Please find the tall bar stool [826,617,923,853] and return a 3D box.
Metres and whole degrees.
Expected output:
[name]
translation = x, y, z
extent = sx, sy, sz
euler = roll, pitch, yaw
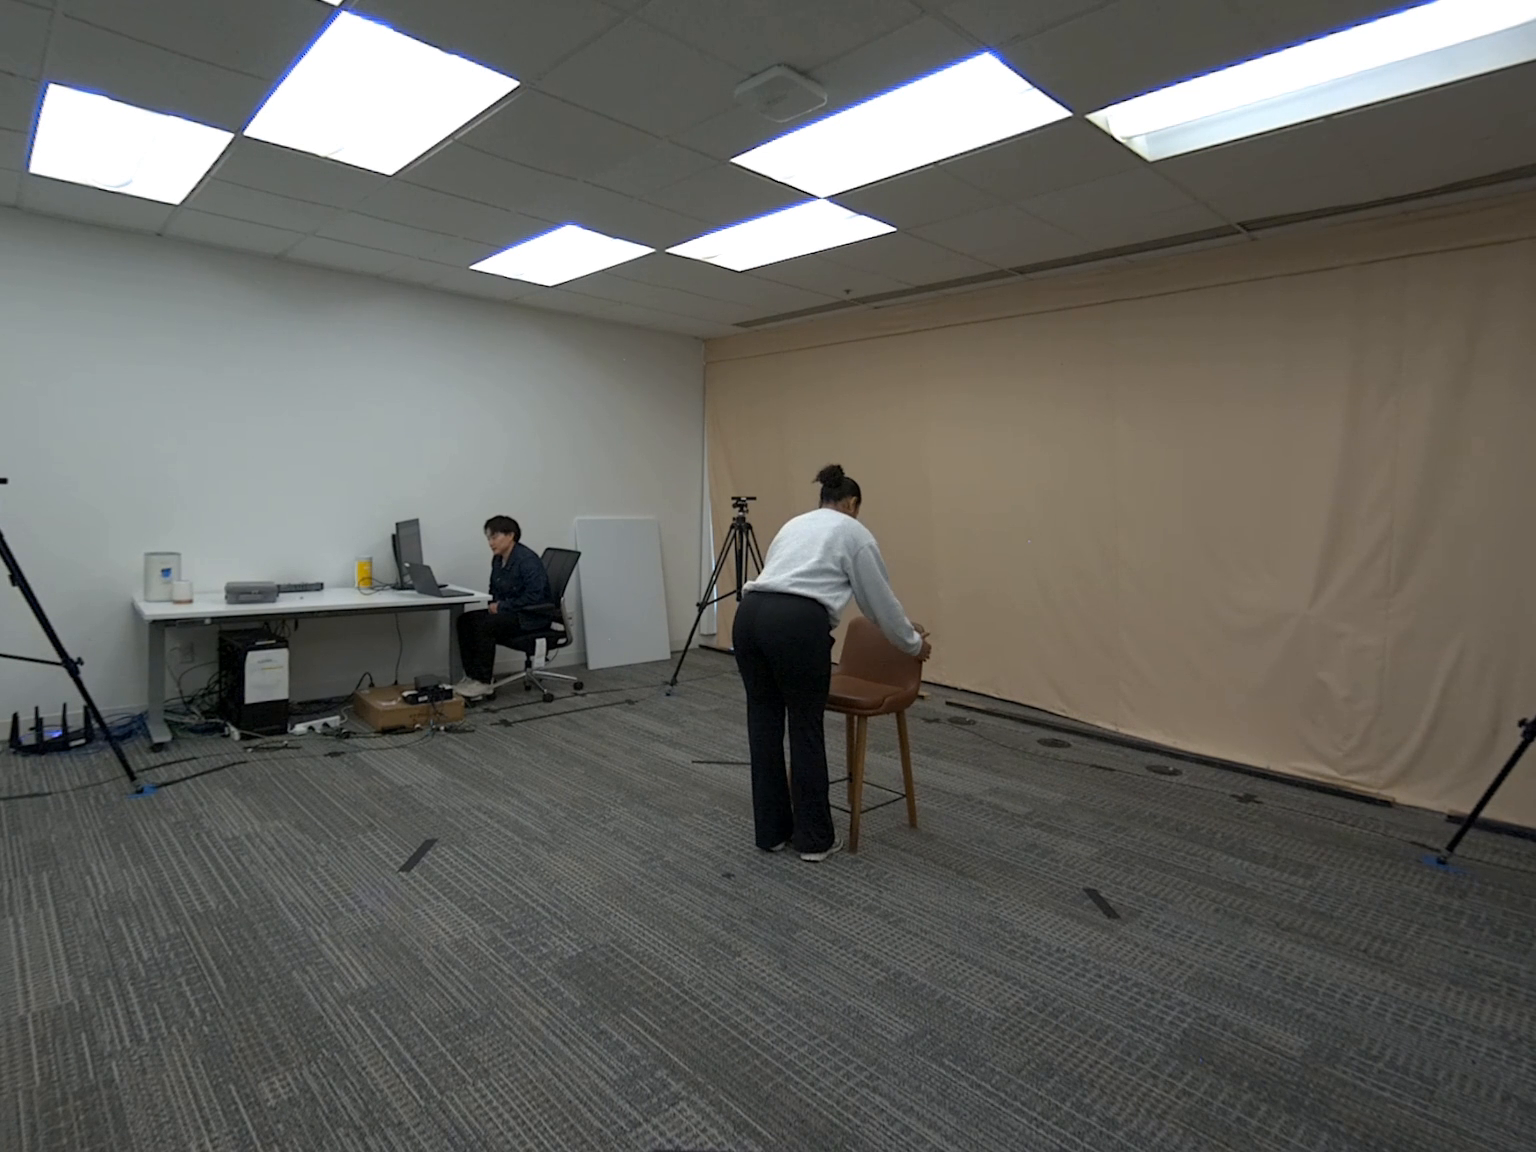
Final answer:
[tall bar stool]
translation = 0.359, 0.632, 3.599
extent = 0.456, 0.889, 0.468
euler = 1, 2, -43
